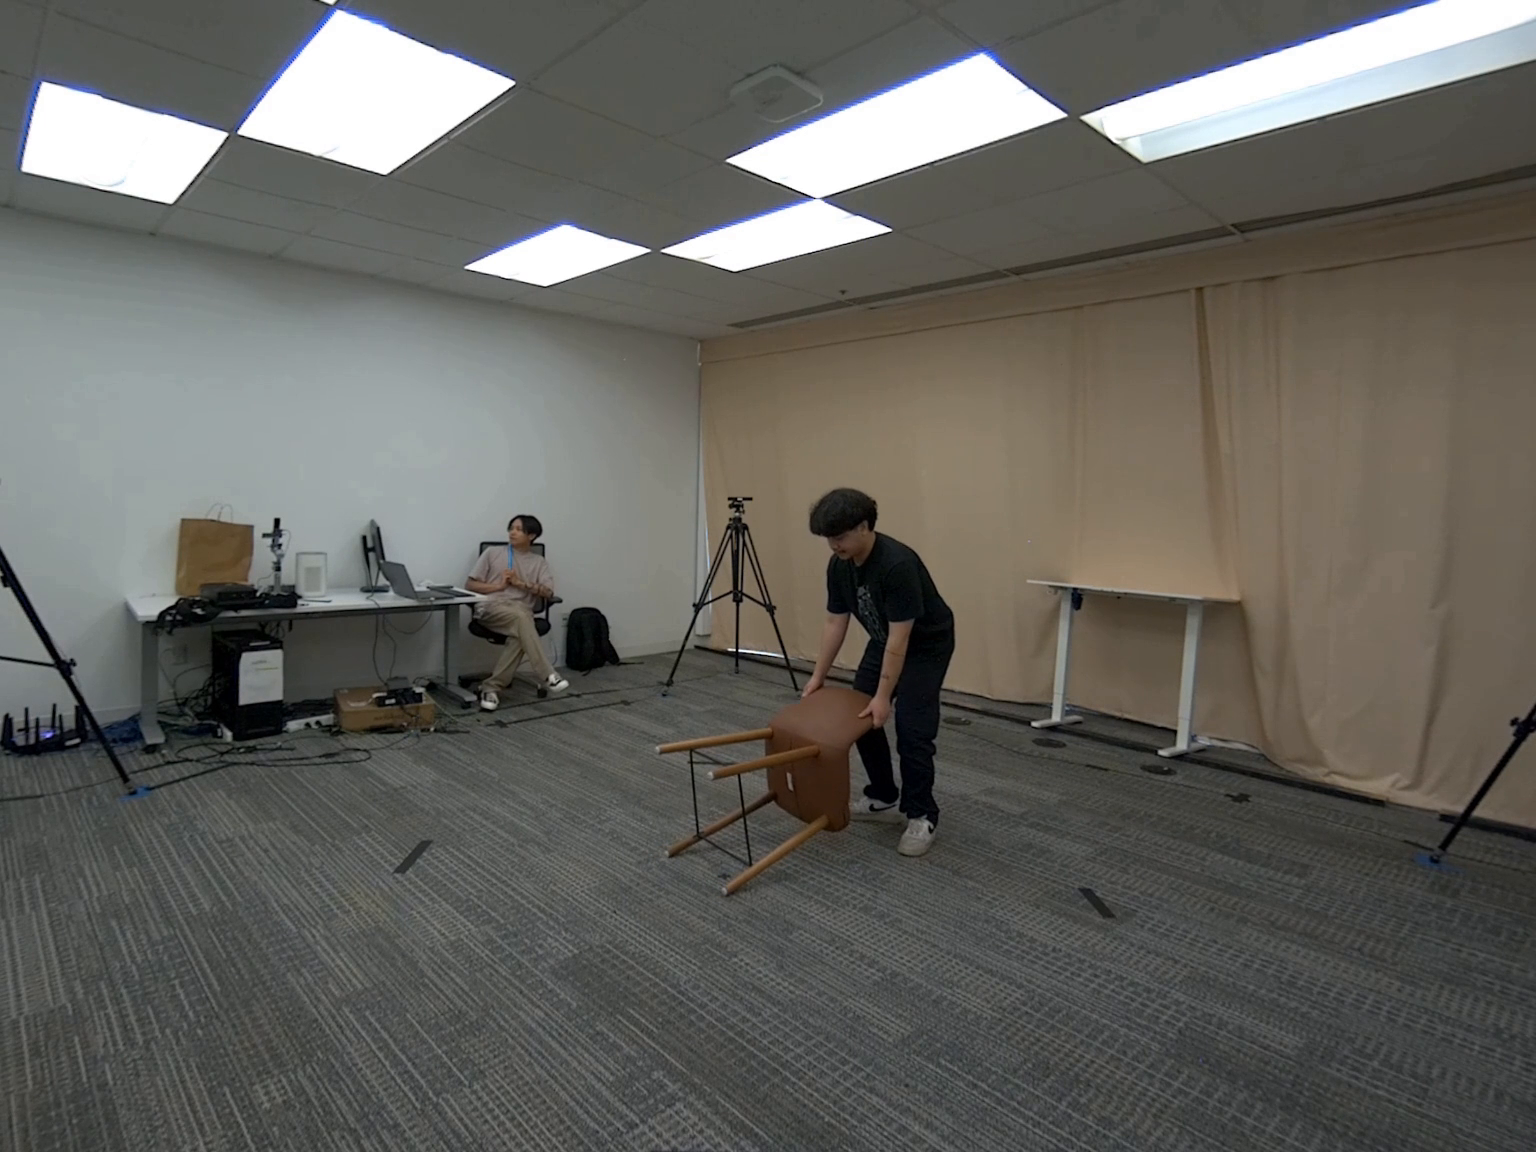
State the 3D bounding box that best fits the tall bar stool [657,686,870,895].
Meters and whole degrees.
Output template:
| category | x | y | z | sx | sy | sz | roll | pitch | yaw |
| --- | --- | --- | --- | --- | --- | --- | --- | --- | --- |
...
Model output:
| category | x | y | z | sx | sy | sz | roll | pitch | yaw |
| --- | --- | --- | --- | --- | --- | --- | --- | --- | --- |
| tall bar stool | 0.036 | 0.795 | 3.320 | 0.875 | 0.464 | 0.468 | -15 | 13 | -37 |
